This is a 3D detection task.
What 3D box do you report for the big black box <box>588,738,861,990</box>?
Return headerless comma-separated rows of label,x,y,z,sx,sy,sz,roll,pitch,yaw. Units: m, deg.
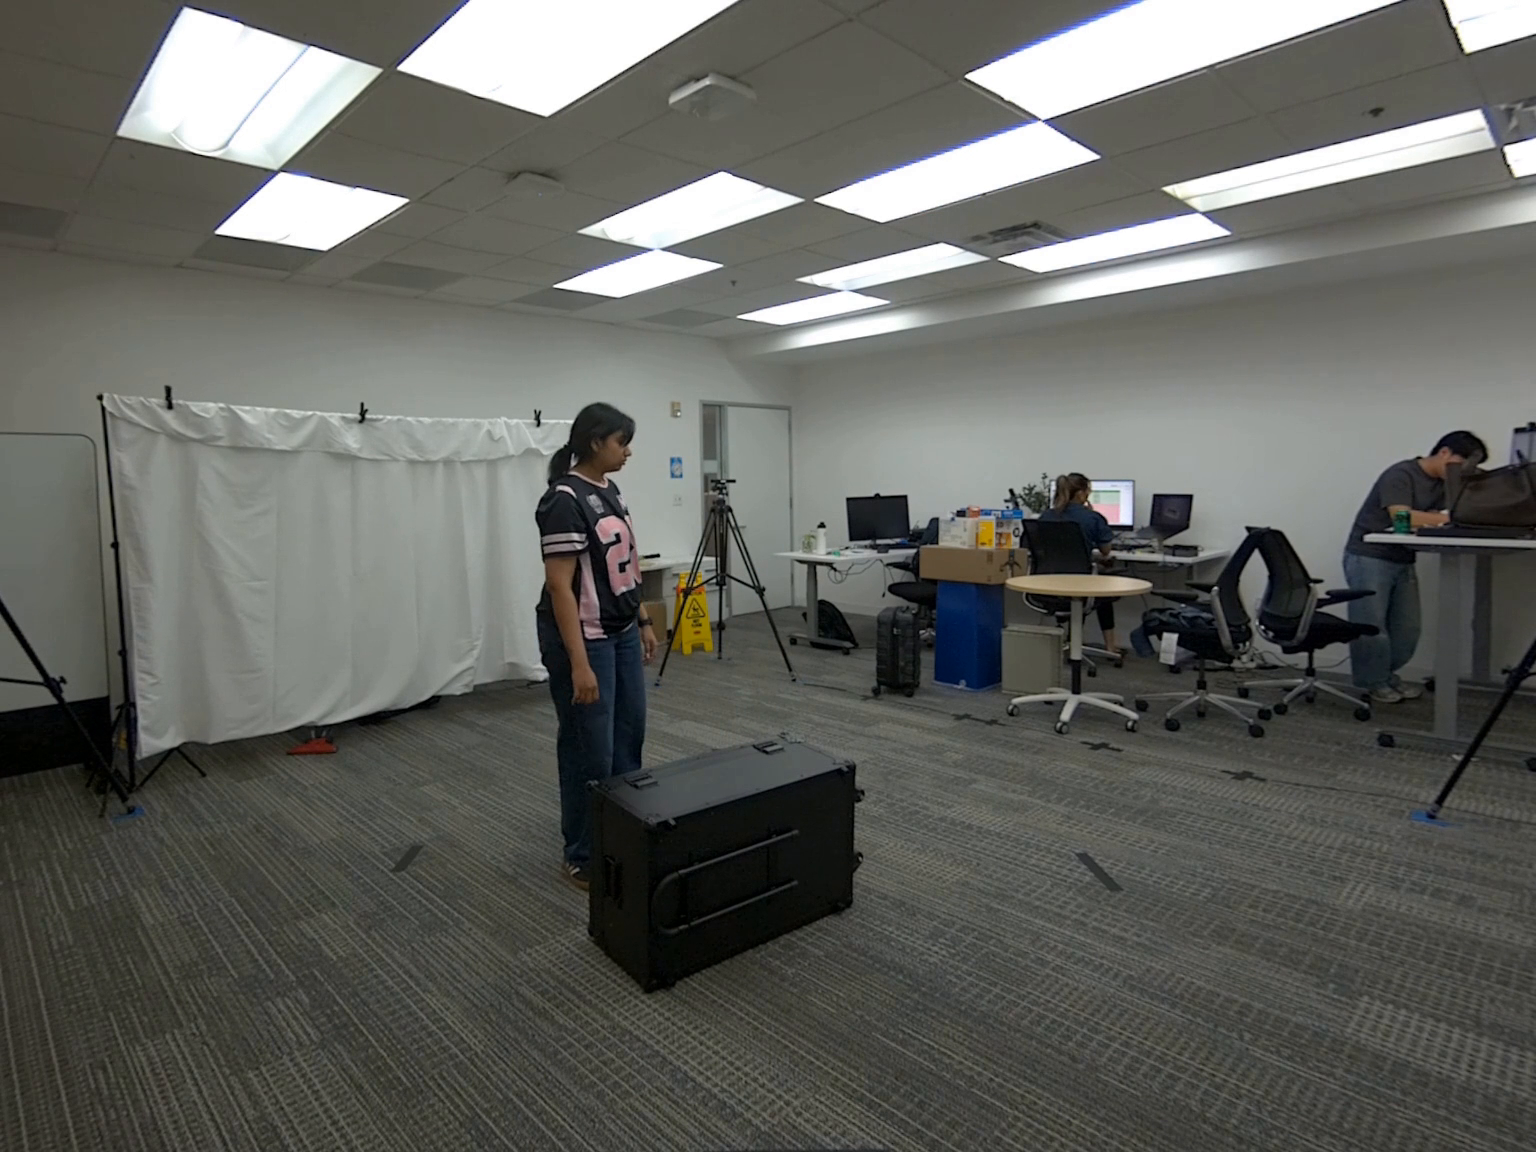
big black box,-0.096,0.842,2.689,0.846,0.521,0.397,-6,7,-37
